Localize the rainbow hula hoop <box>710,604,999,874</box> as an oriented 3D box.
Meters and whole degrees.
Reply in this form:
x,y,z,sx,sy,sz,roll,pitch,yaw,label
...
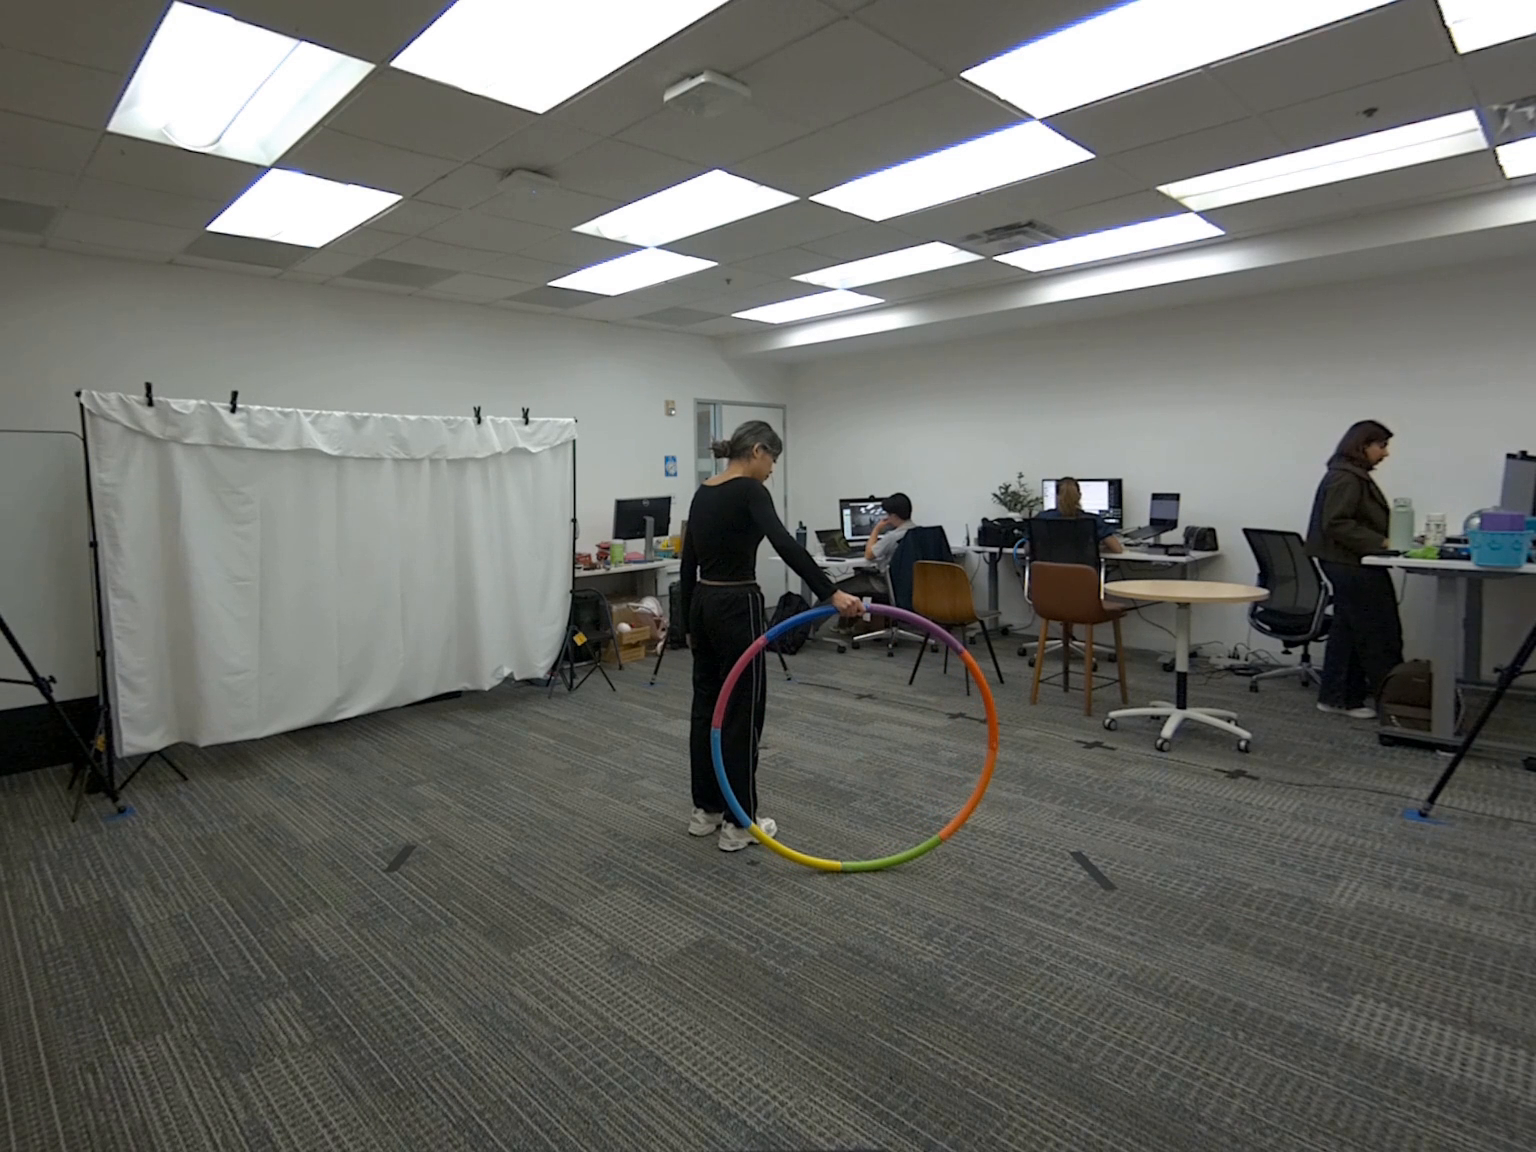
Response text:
x,y,z,sx,sy,sz,roll,pitch,yaw,label
0.309,0.564,2.998,0.977,0.974,0.036,-1,5,-1,rainbow hula hoop
